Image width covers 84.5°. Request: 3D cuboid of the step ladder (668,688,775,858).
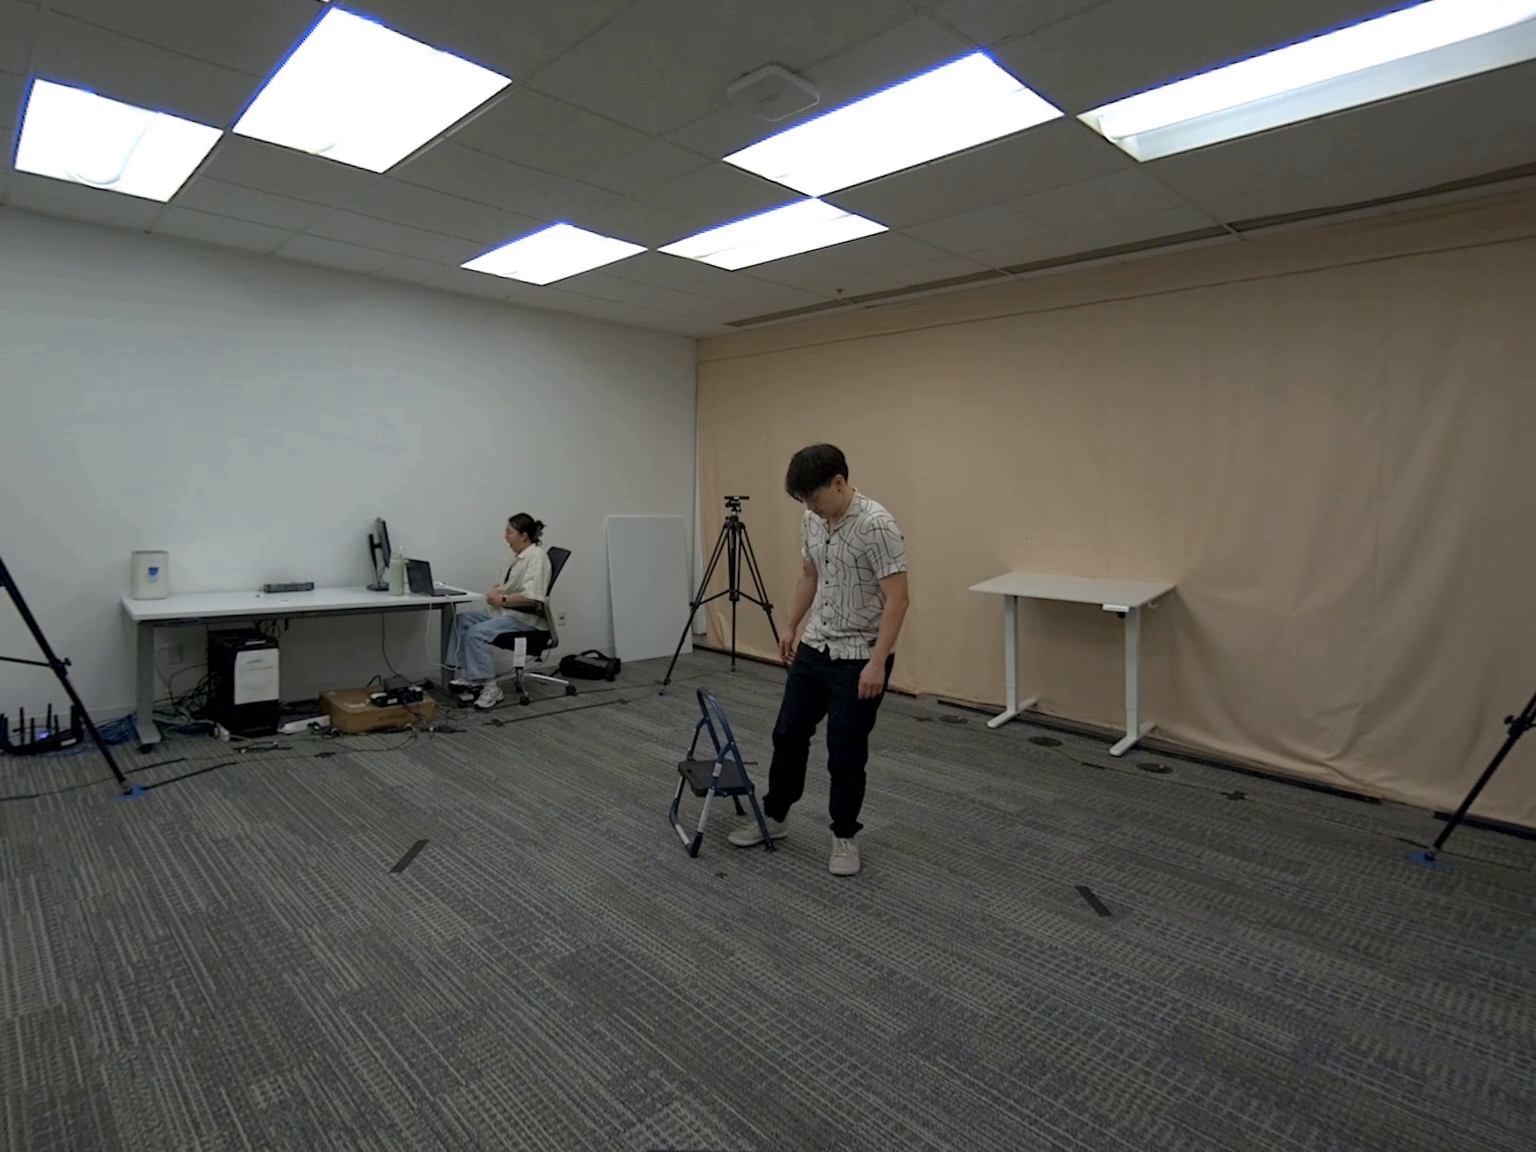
[{"bbox_3d":[-0.202,0.764,3.469,0.344,0.605,0.437,1,2,-19],"label":"step ladder"}]
